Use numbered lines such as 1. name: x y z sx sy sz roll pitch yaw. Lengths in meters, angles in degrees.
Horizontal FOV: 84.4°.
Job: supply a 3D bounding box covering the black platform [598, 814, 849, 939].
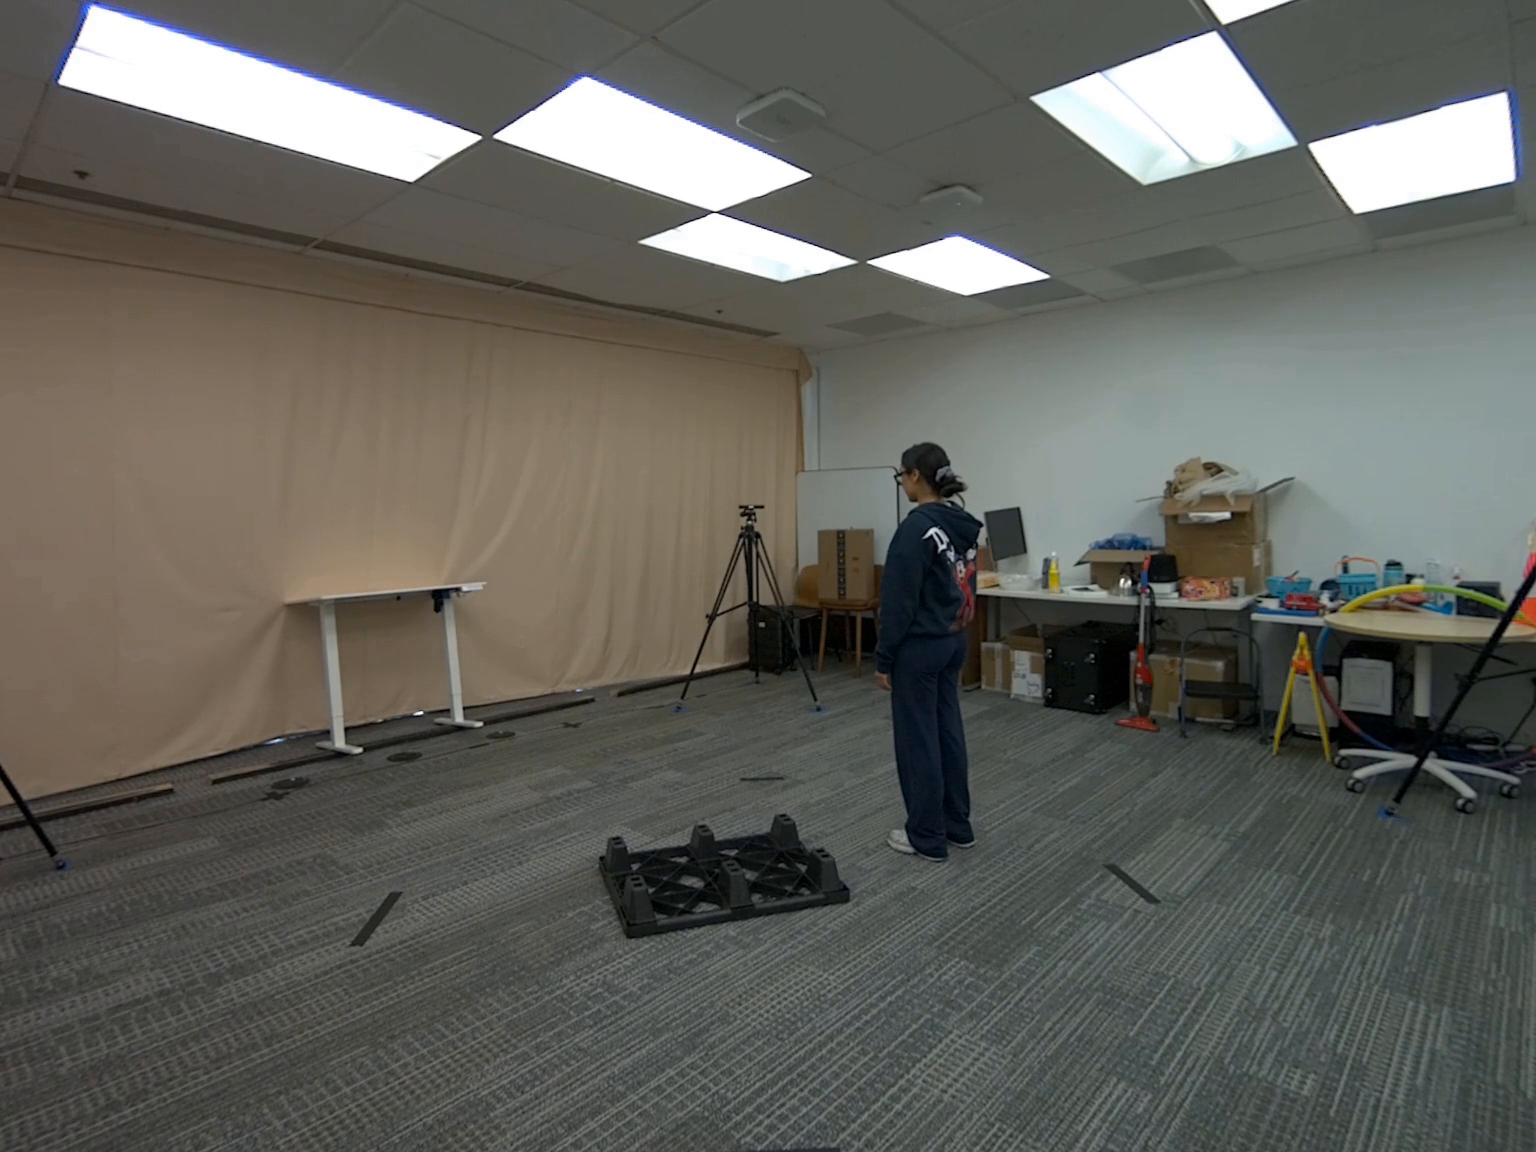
1. black platform: -0.186 1.065 3.105 0.791 0.143 0.618 -3 5 -19
